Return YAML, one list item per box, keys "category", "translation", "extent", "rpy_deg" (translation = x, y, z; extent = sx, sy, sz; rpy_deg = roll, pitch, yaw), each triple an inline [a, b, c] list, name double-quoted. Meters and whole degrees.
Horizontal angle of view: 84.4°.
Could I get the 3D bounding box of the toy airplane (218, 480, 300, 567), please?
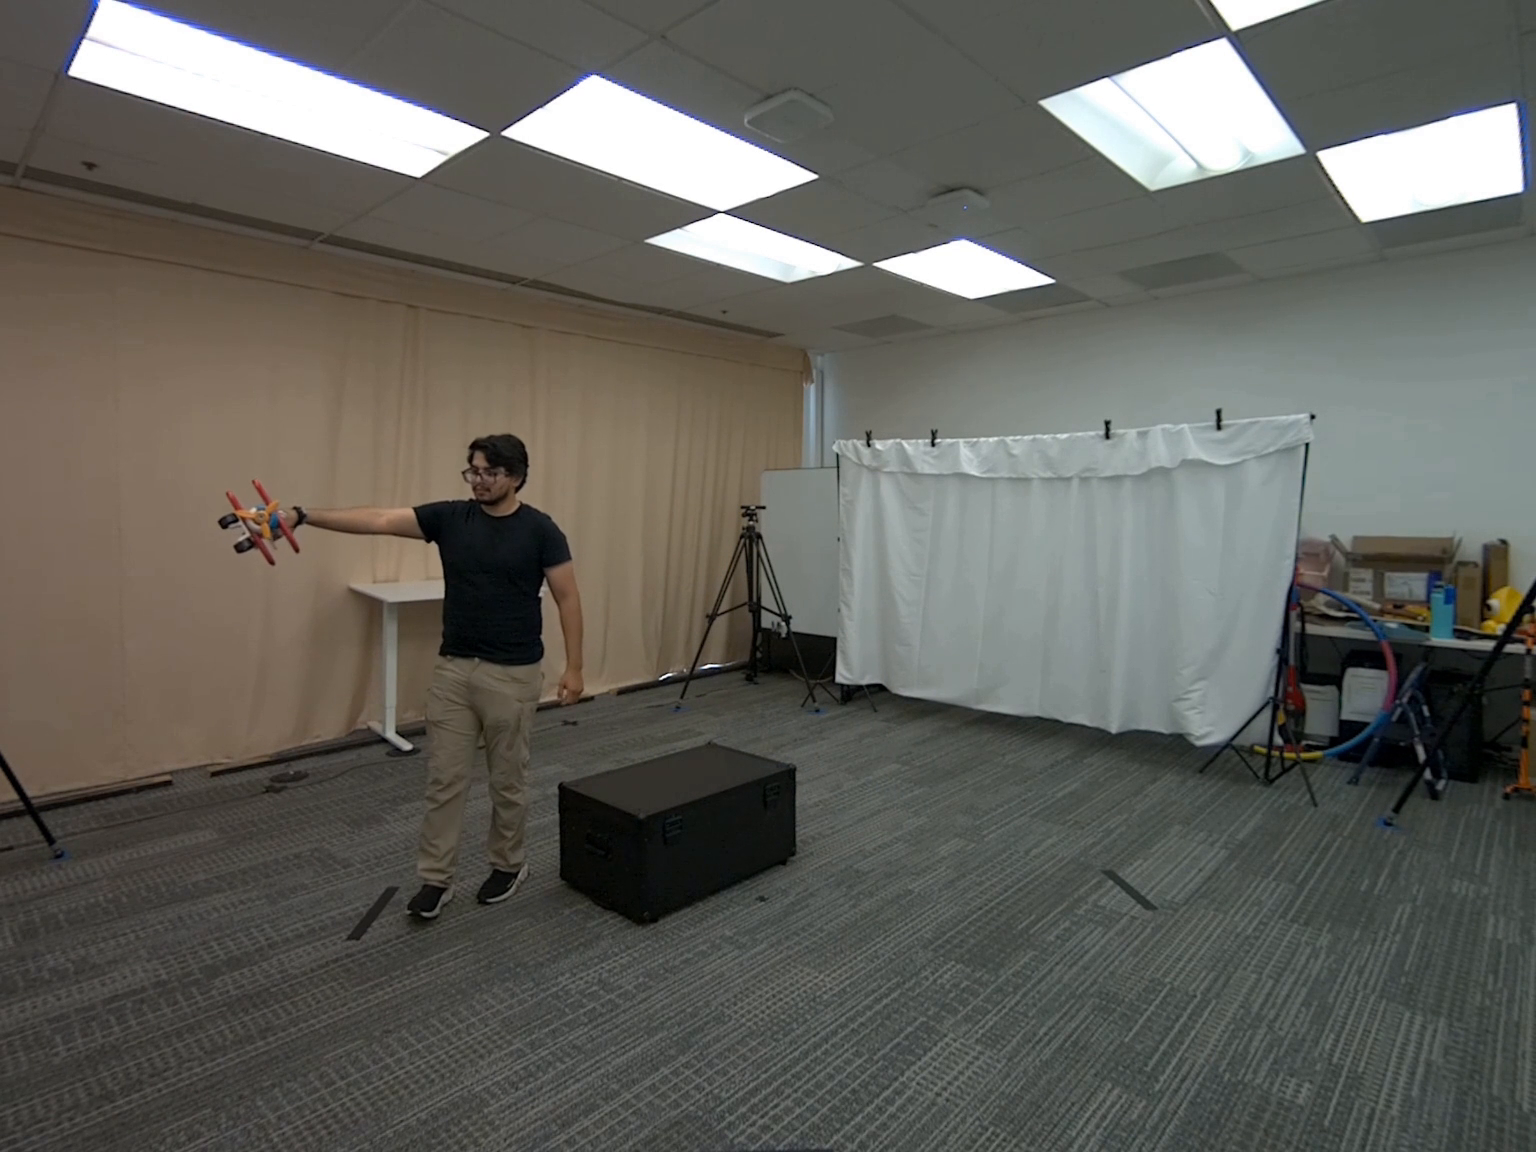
- category: "toy airplane"
  translation: [-1.575, -0.165, 2.591]
  extent: [0.155, 0.244, 0.268]
  rpy_deg: [-31, 35, -13]
